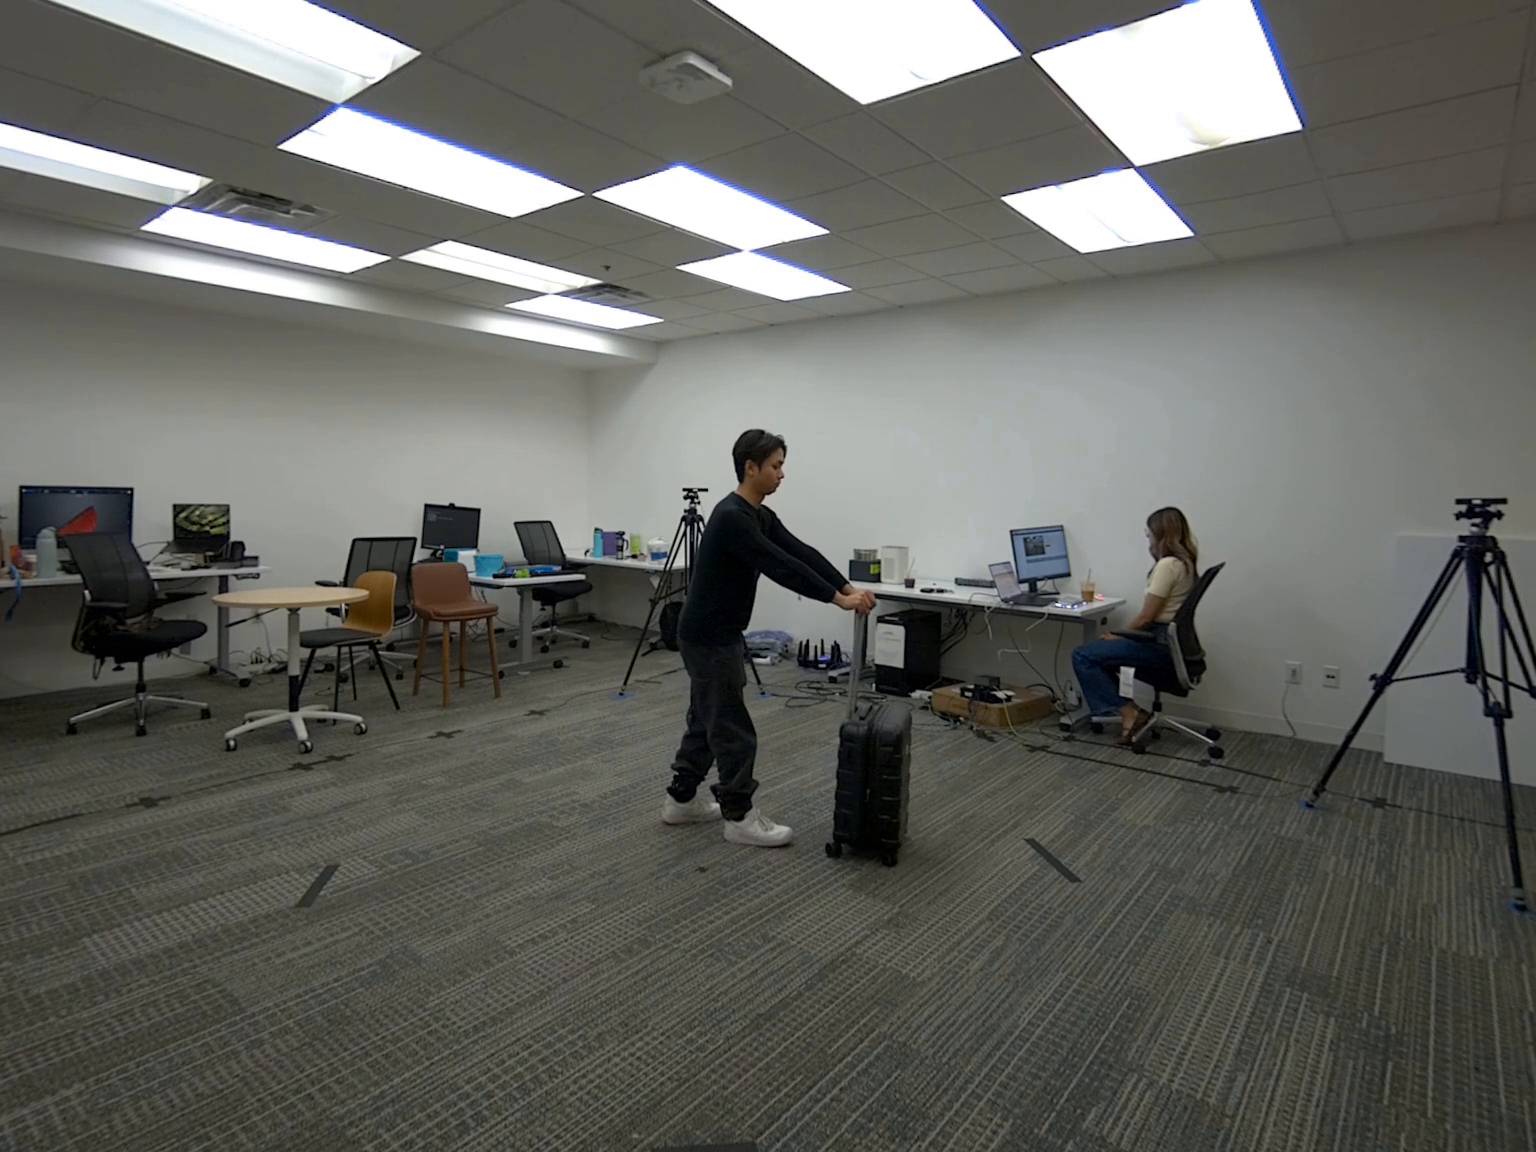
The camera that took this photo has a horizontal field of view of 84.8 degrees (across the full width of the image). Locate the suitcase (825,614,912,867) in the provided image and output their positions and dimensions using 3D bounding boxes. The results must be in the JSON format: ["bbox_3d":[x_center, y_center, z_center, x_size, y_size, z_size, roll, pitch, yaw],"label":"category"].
[{"bbox_3d":[0.422,0.588,3.303,0.262,0.974,0.379,5,5,14],"label":"suitcase"}]
